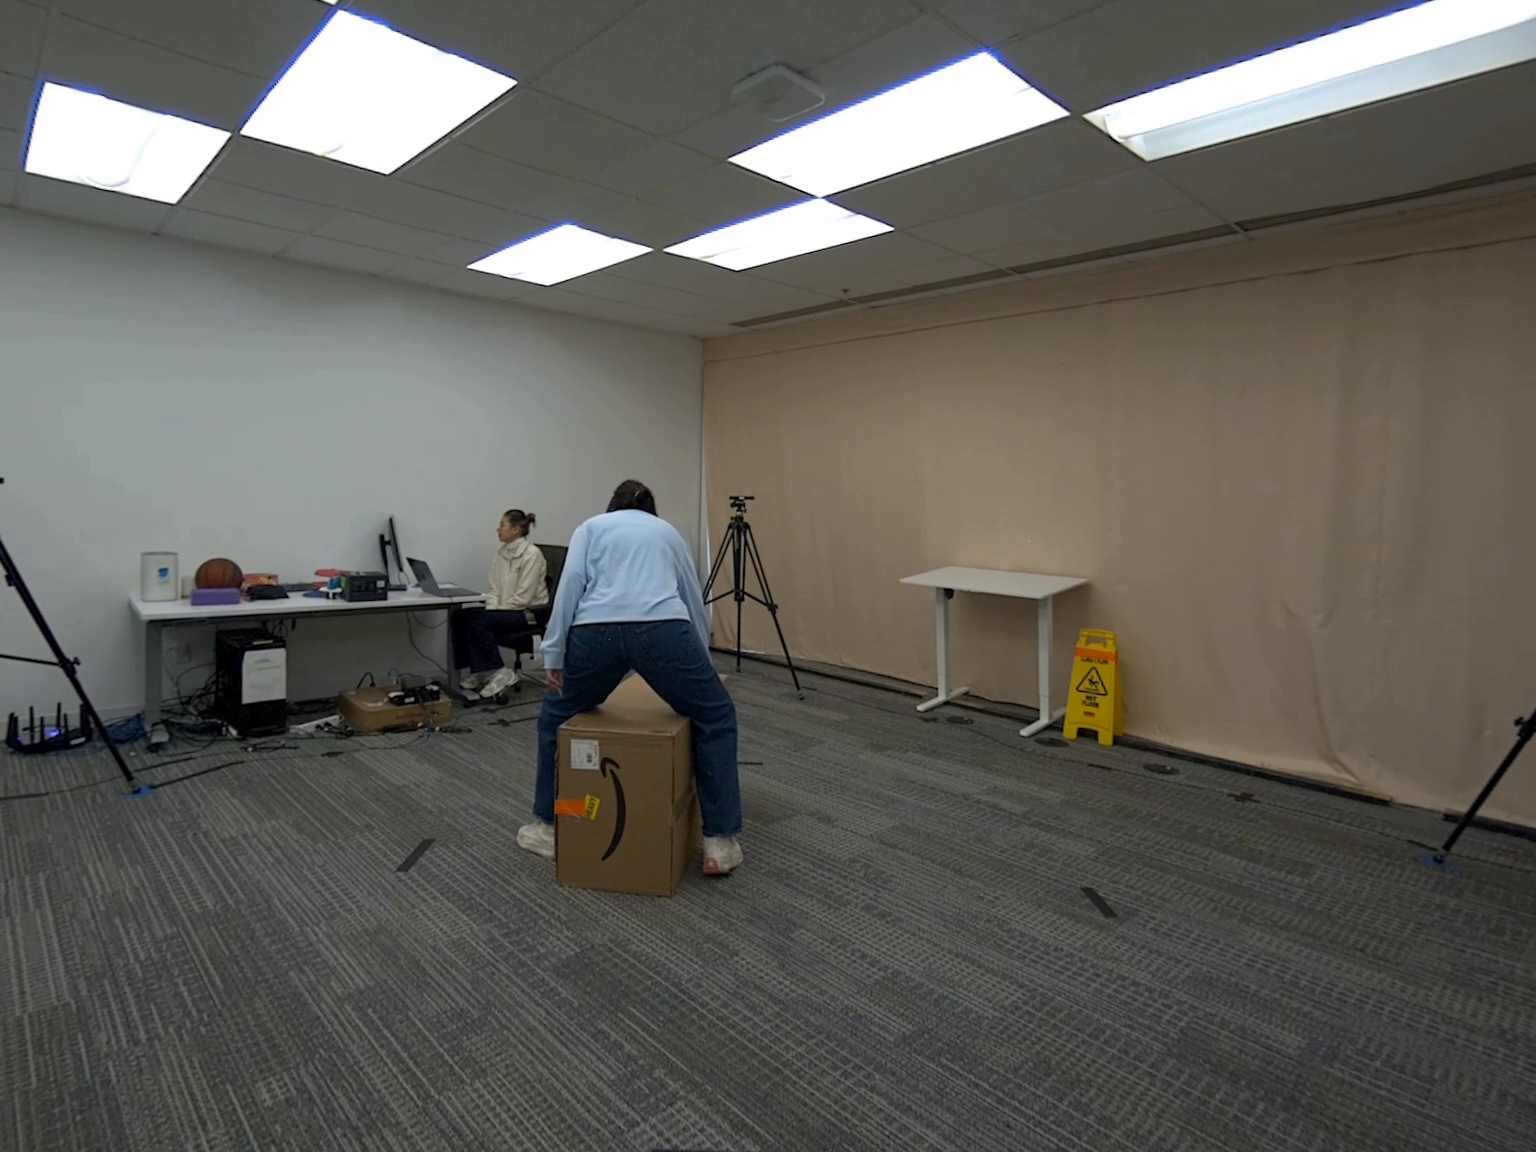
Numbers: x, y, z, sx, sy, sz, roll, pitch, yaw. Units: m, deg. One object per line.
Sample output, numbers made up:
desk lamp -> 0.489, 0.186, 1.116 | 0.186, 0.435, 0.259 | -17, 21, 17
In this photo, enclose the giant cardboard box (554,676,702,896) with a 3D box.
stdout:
giant cardboard box -> -0.476, 0.779, 3.446 | 0.429, 0.576, 1.021 | 1, 5, 8
